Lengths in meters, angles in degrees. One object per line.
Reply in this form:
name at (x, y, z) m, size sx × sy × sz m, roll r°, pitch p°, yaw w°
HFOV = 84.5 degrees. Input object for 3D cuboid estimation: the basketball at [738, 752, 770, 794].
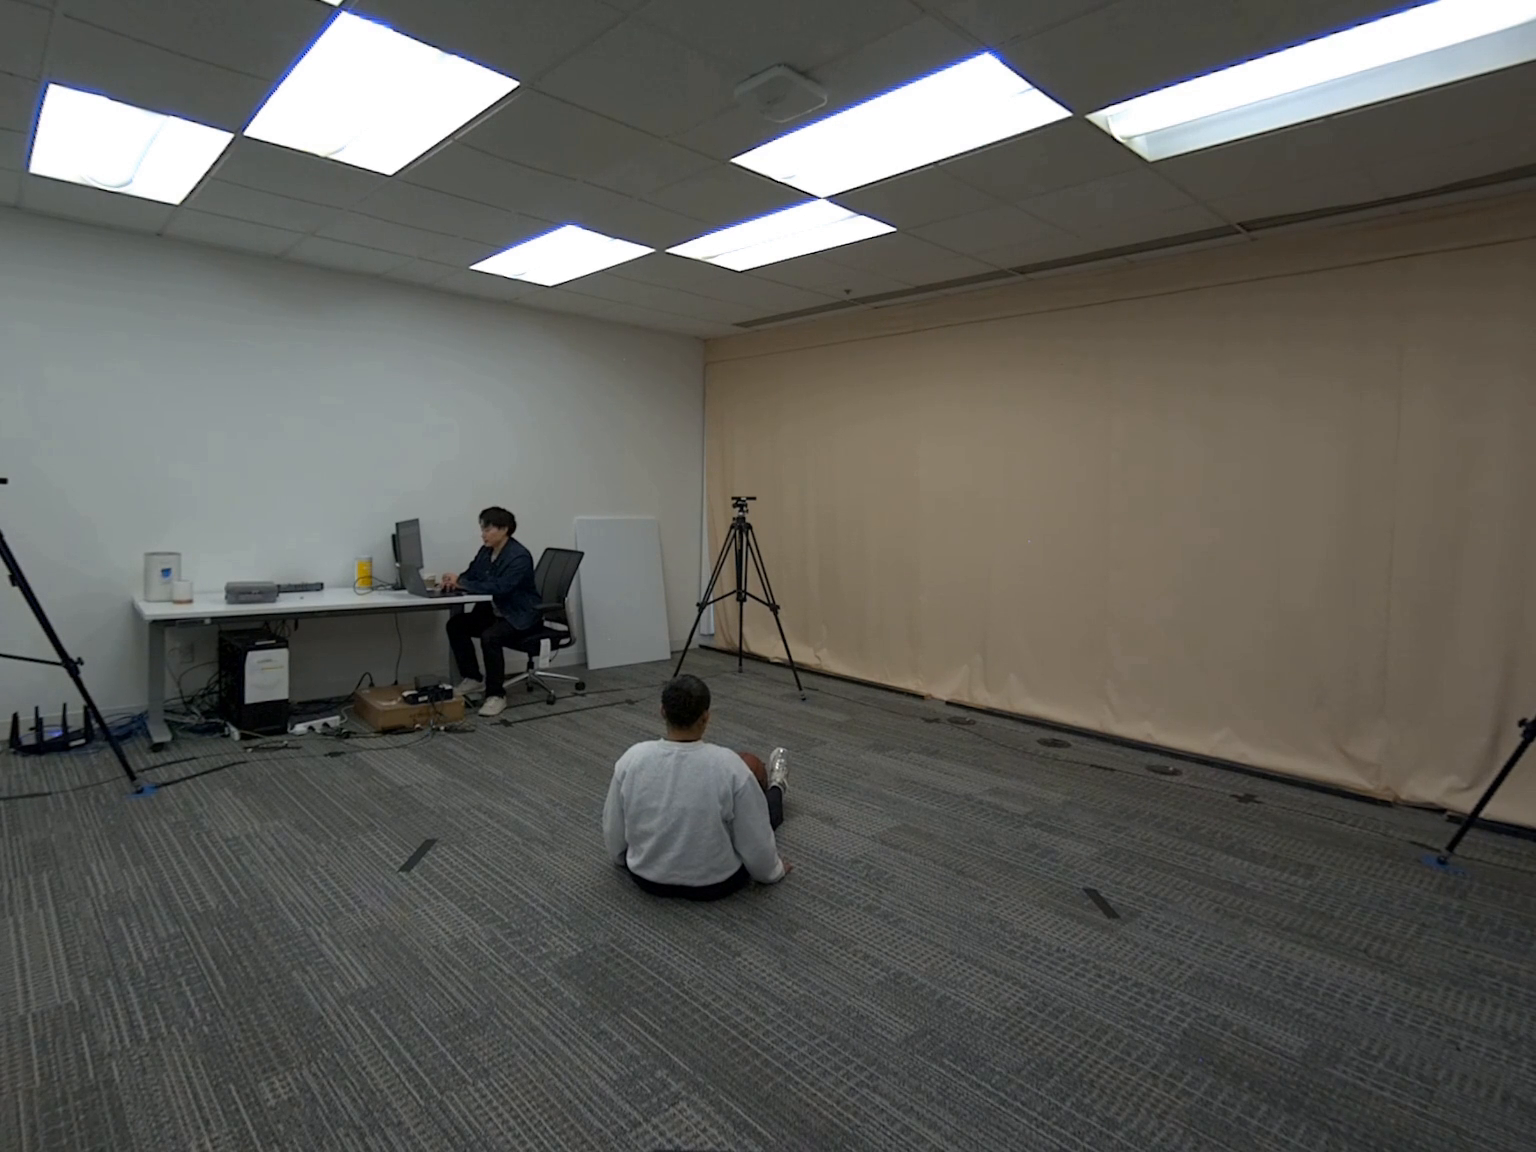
basketball at (-0.129, 0.931, 3.835) m, size 0.236 × 0.235 × 0.237 m, roll 1°, pitch 4°, yaw -1°
